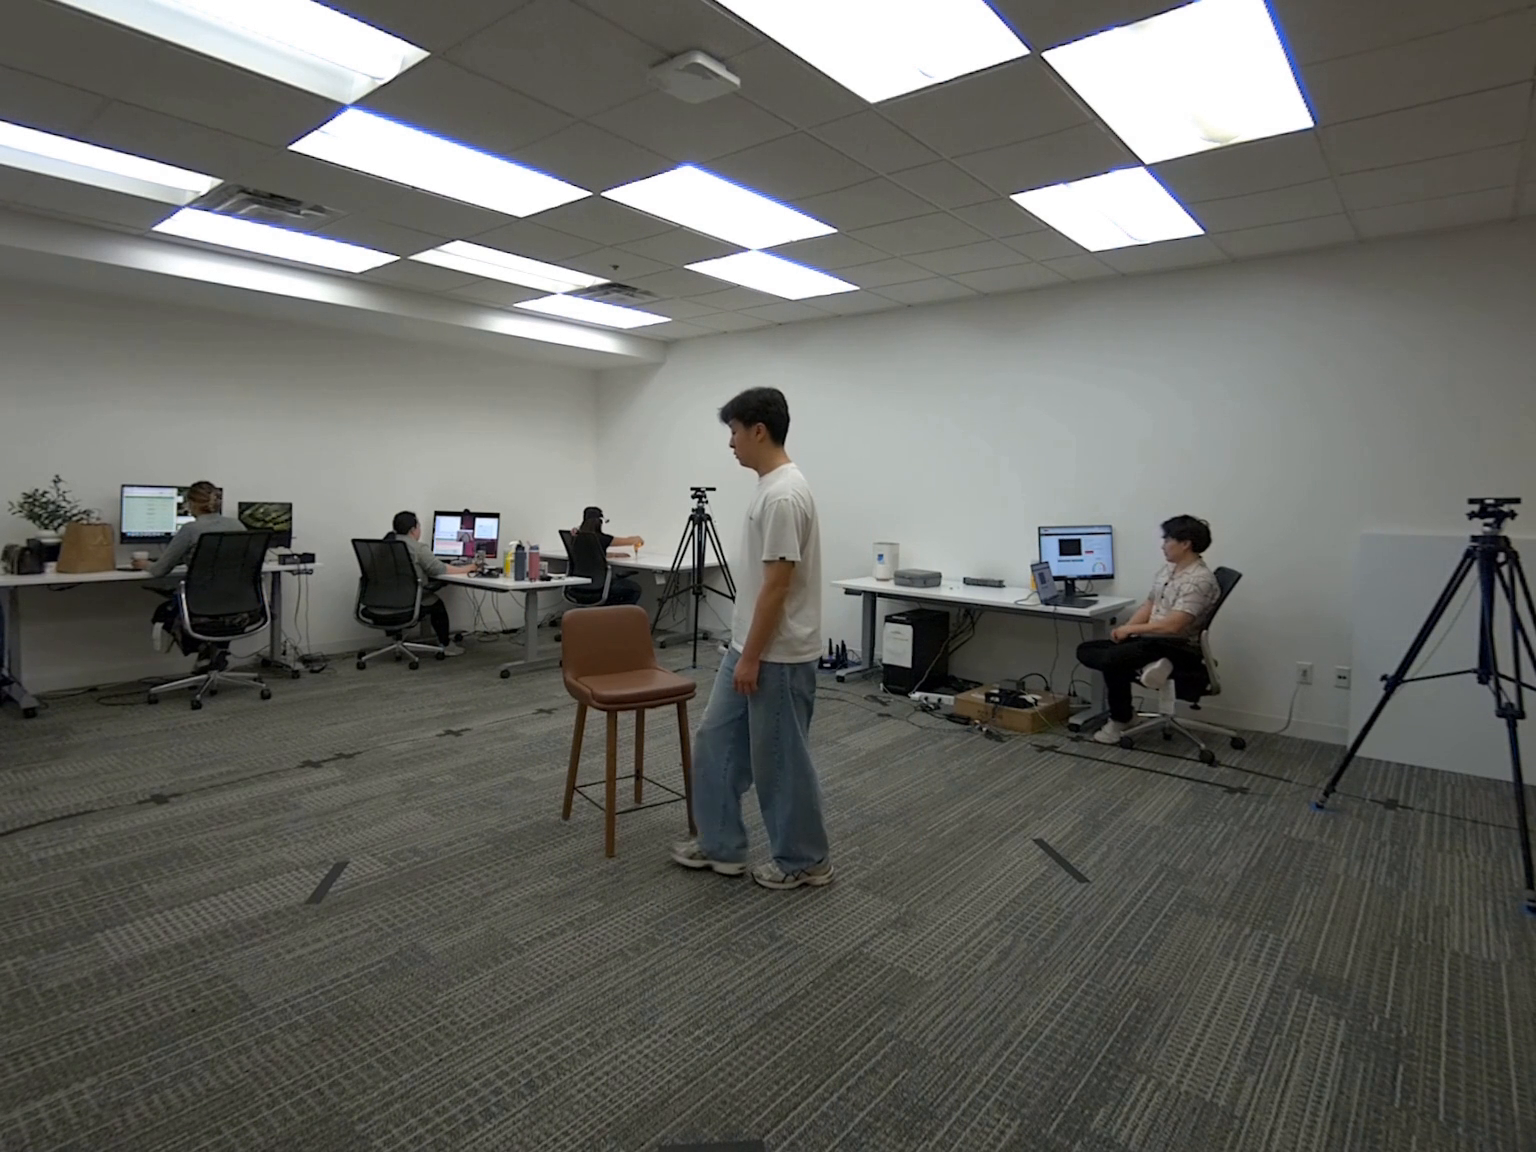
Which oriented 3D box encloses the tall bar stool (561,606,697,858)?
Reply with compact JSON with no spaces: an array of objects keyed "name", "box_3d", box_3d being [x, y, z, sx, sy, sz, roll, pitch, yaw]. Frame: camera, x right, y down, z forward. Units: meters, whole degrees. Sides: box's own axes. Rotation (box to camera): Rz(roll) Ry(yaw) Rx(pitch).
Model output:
[{"name":"tall bar stool","box_3d":[-0.588,0.587,3.465,0.443,0.888,0.482,-1,2,-37]}]
